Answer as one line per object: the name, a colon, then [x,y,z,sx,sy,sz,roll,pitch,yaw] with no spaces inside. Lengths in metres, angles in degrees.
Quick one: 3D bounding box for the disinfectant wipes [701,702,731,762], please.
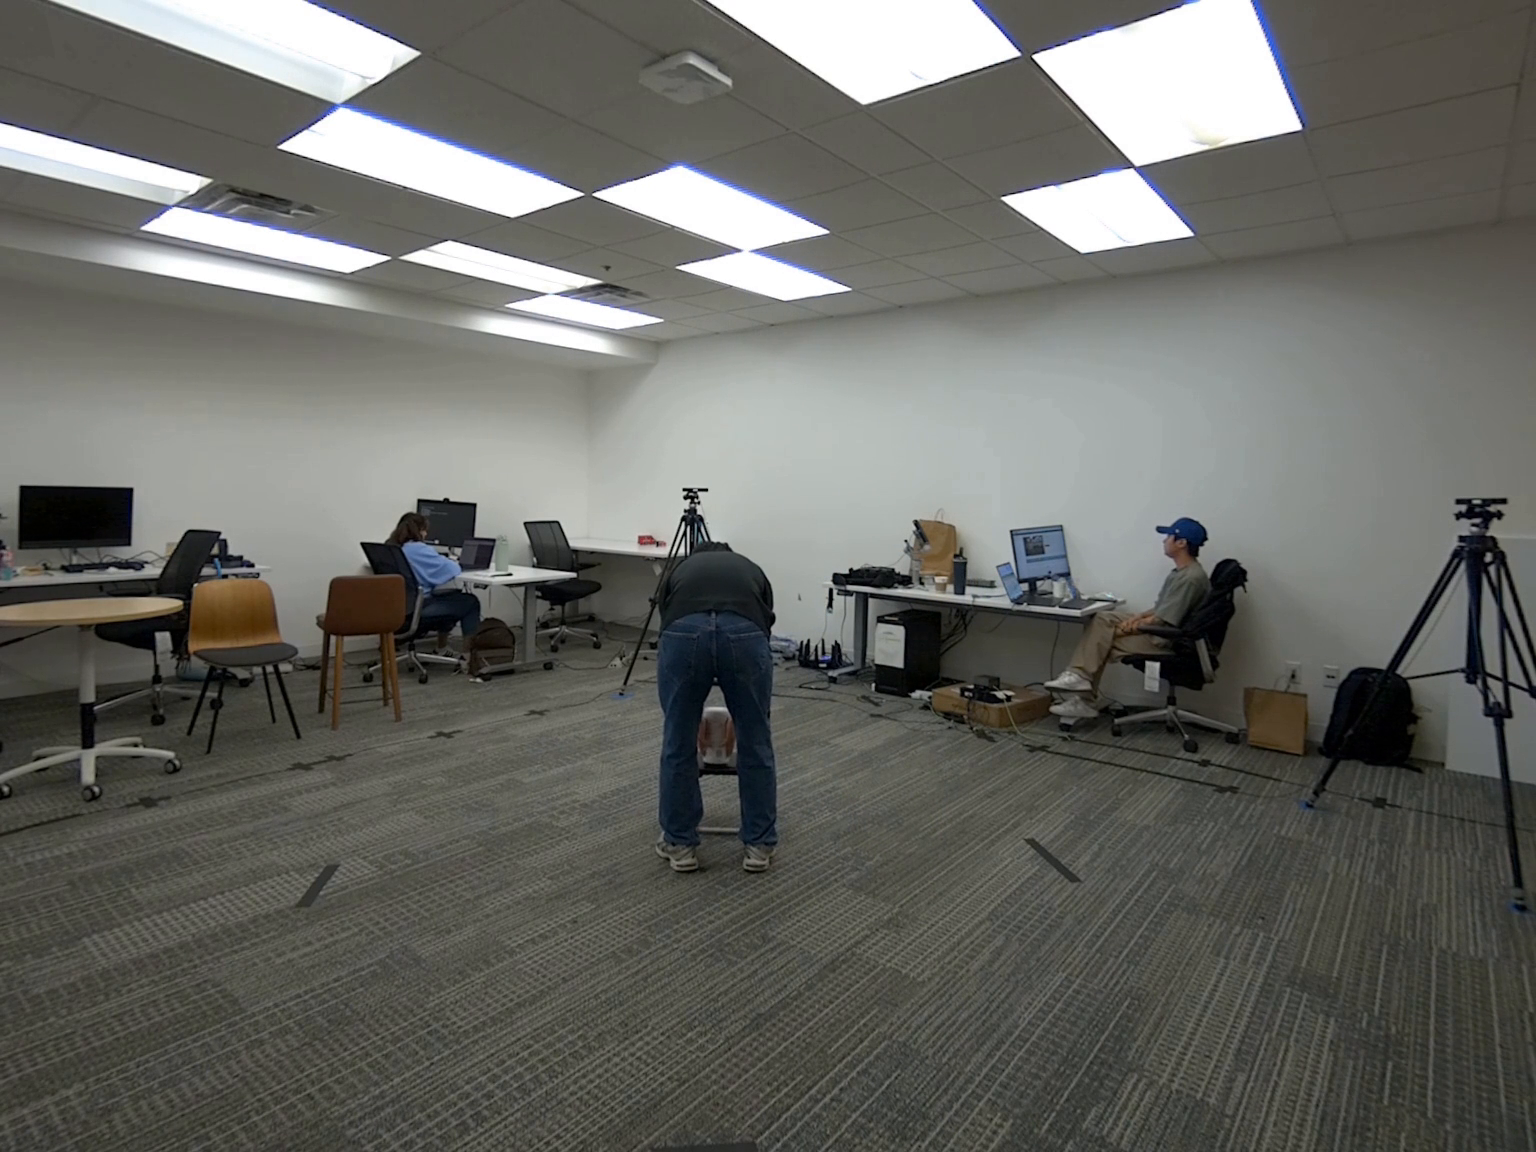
disinfectant wipes: [-0.217,0.645,3.491,0.118,0.217,0.118,0,0,-2]
